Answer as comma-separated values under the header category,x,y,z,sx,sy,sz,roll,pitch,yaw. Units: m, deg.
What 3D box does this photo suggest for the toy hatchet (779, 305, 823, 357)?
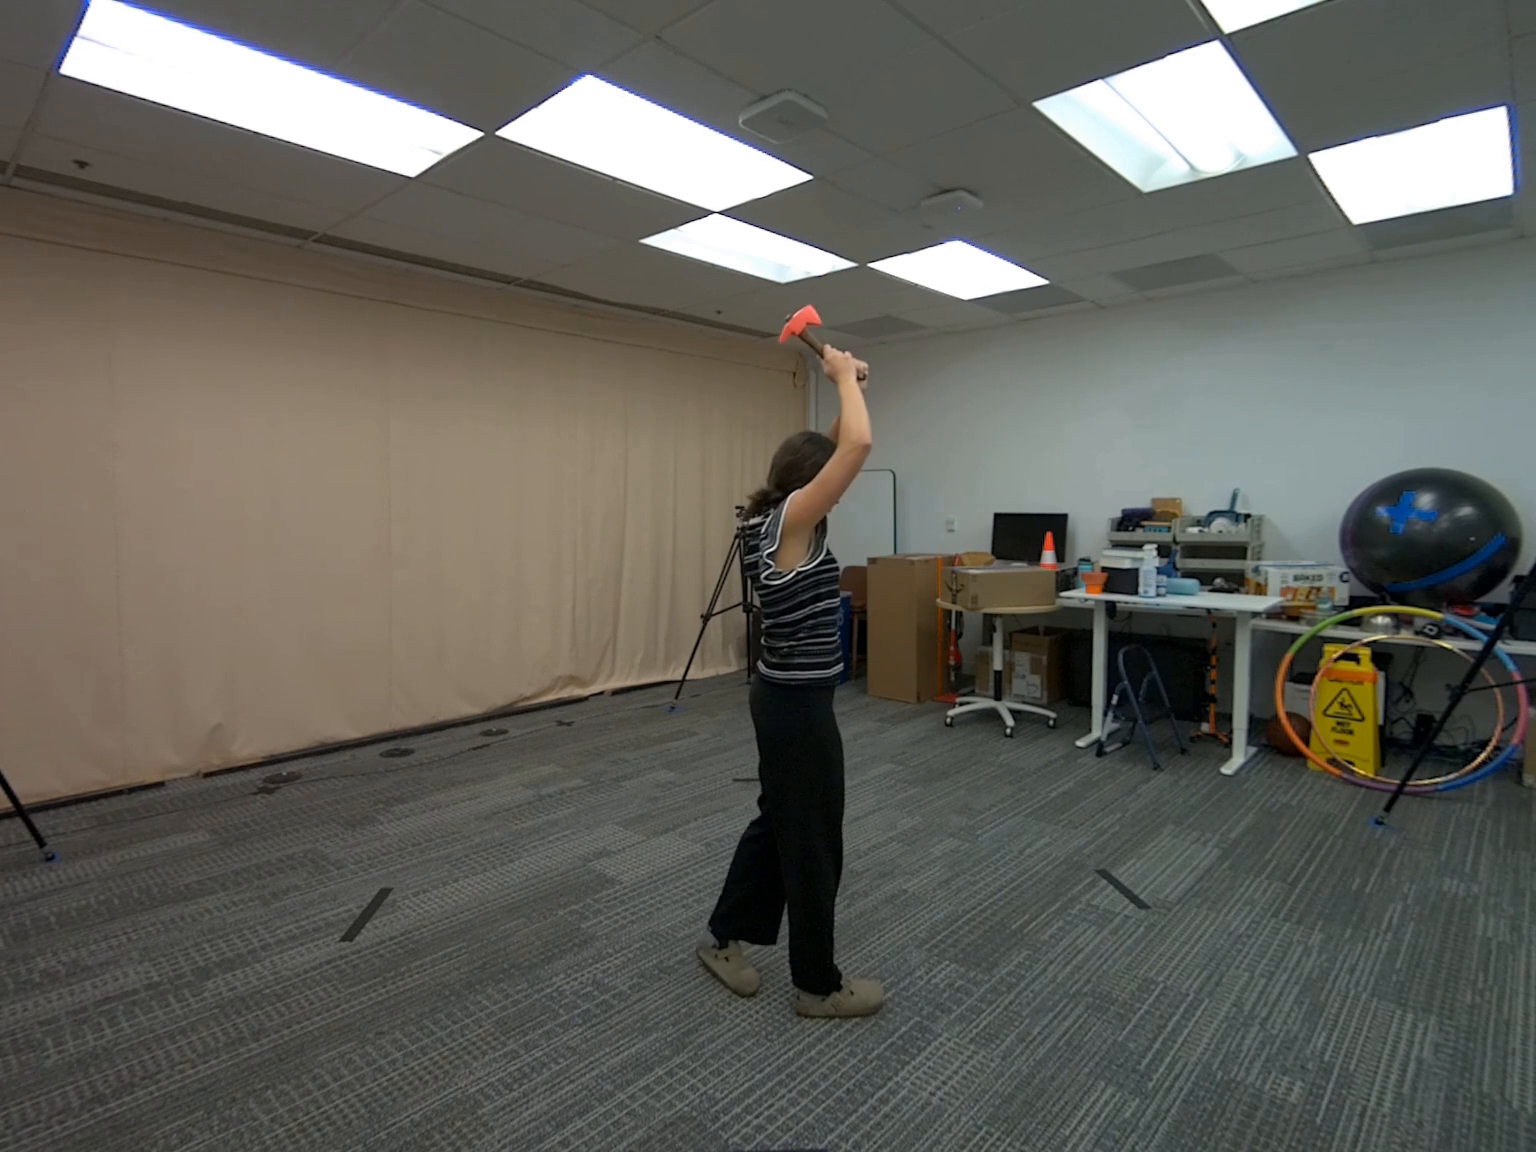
category,x,y,z,sx,sy,sz,roll,pitch,yaw
toy hatchet,0.170,-0.643,2.294,0.265,0.131,0.030,22,-3,-14
